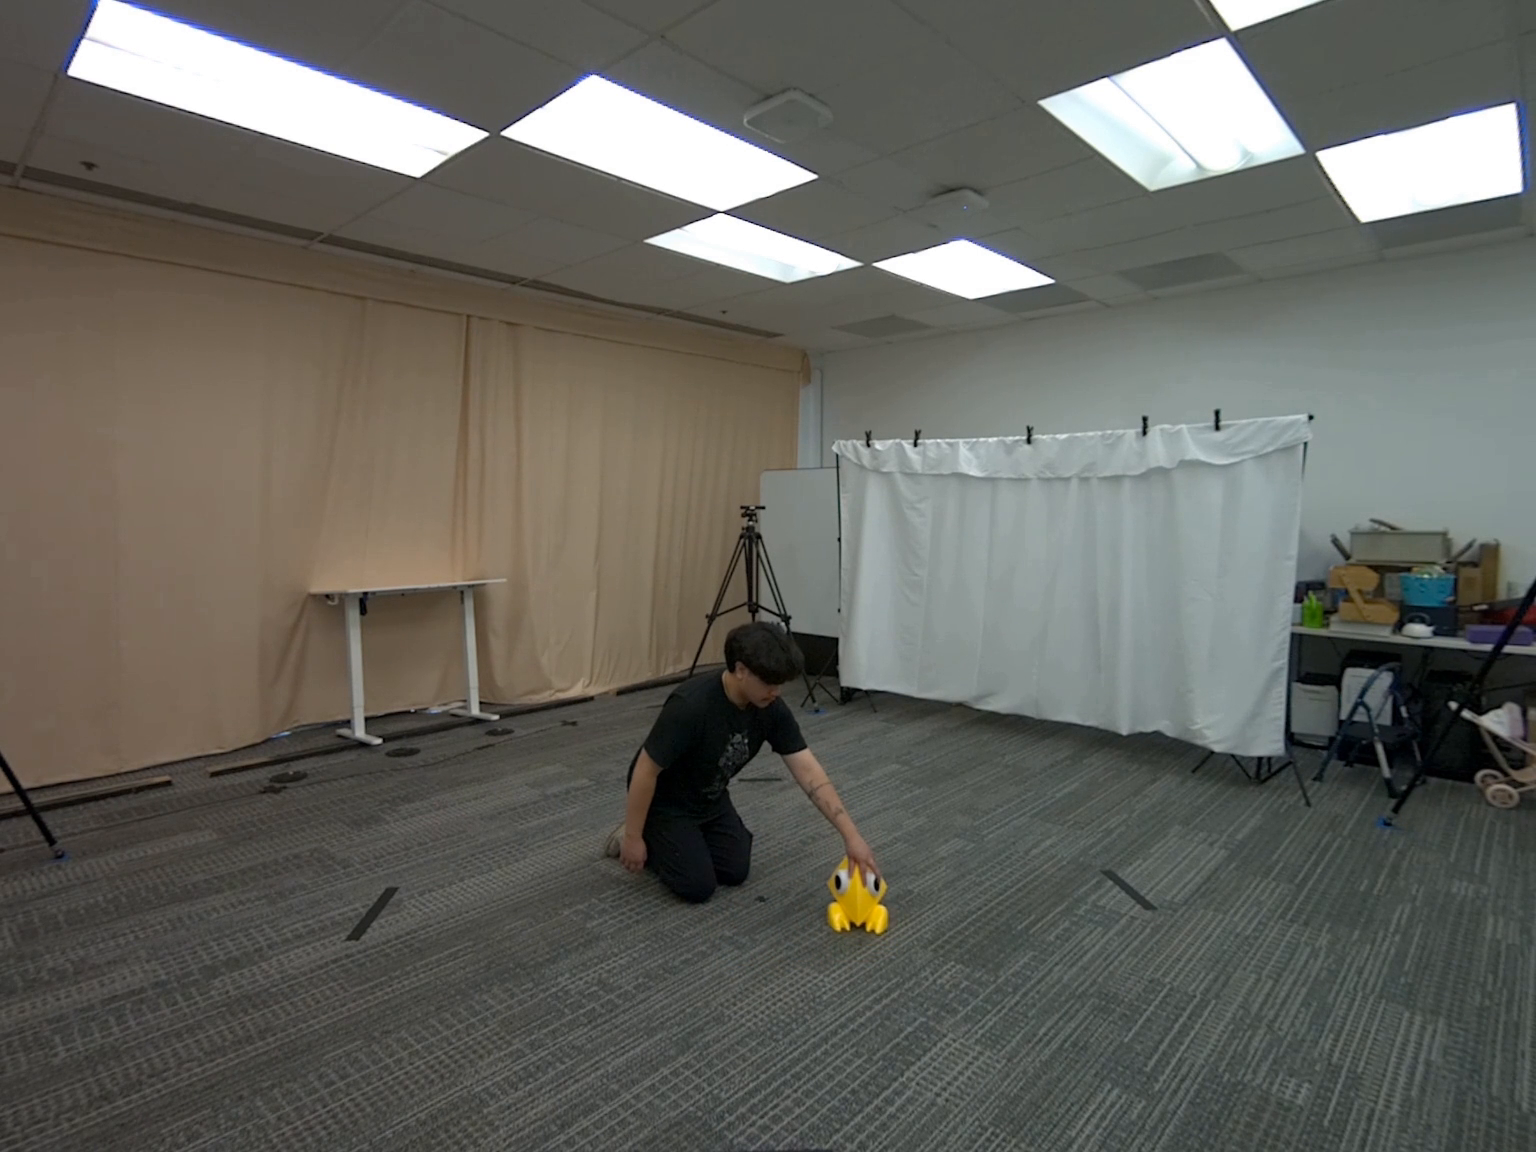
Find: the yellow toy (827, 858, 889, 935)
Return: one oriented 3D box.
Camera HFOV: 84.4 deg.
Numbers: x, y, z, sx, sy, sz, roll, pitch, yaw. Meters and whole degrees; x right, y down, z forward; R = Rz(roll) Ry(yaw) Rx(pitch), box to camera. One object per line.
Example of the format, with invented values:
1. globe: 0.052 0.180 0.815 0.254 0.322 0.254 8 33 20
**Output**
1. yellow toy: 0.305 1.045 2.823 0.207 0.230 0.191 1 2 8
